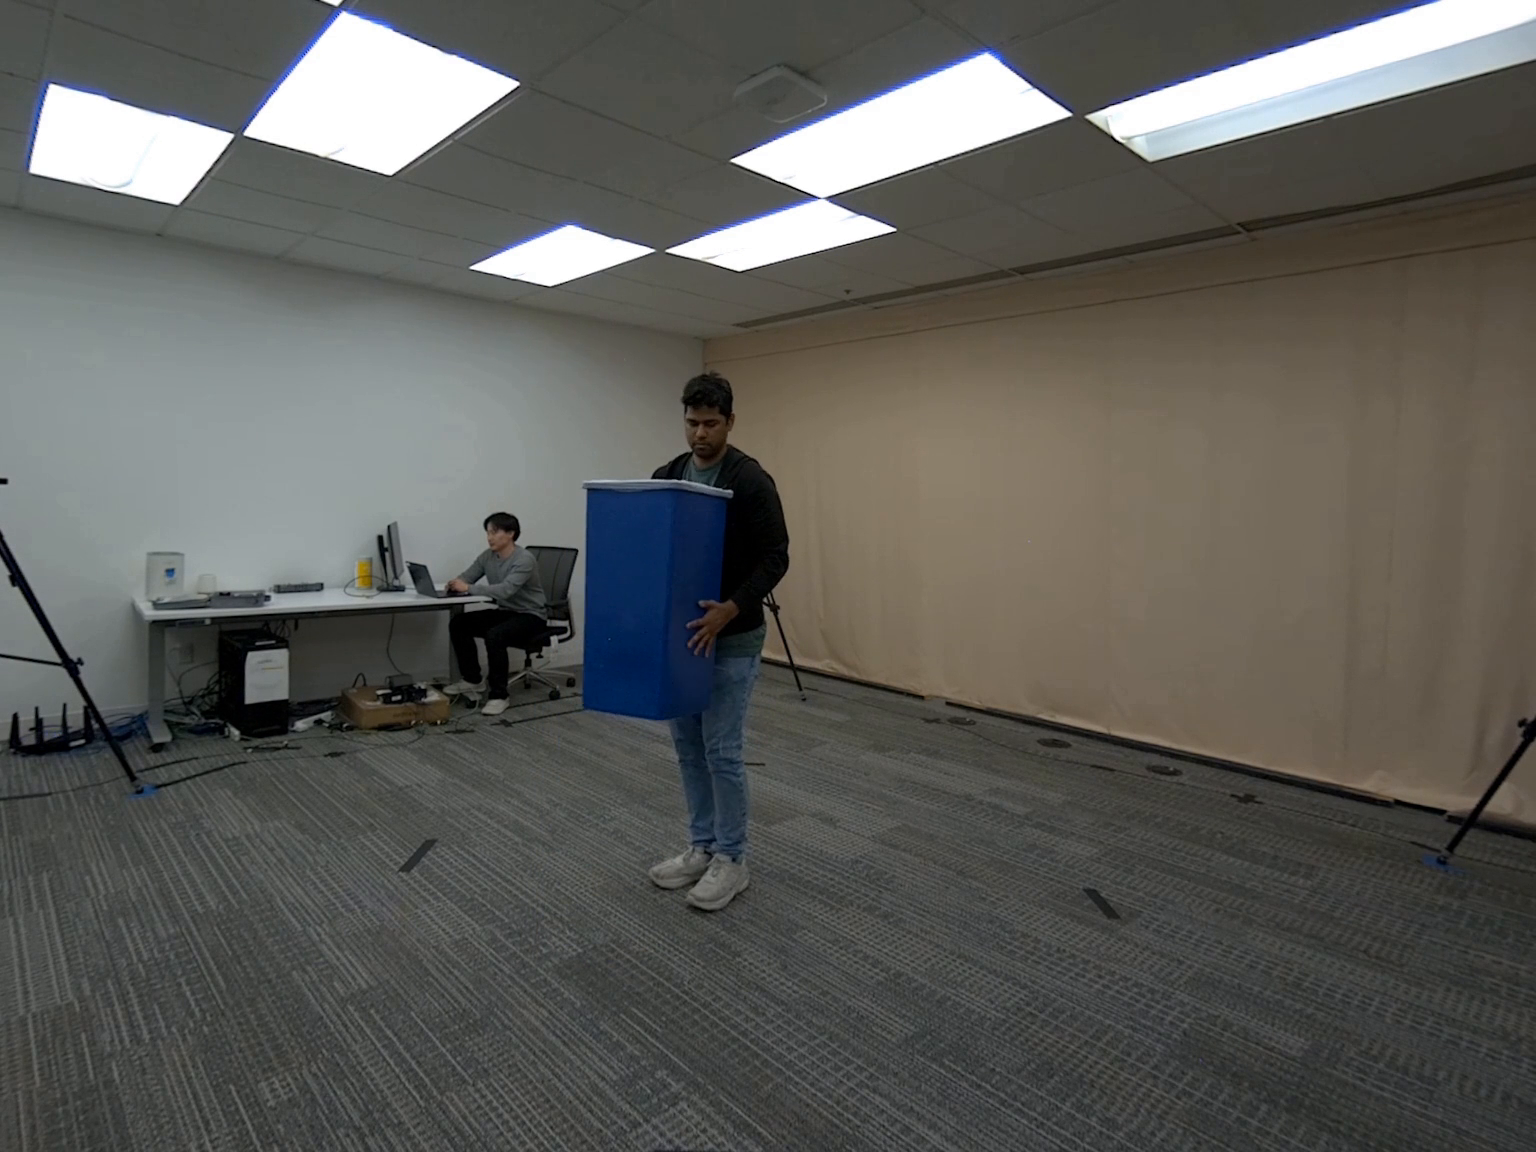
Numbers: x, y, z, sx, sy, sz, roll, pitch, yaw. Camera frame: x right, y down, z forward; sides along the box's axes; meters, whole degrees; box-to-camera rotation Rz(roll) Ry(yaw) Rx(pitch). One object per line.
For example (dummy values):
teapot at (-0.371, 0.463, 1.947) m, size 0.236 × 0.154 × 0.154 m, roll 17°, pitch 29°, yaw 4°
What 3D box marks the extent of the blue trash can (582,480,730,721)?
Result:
blue trash can at (-0.375, 0.066, 2.679) m, size 0.386 × 0.714 × 0.366 m, roll 2°, pitch -2°, yaw 28°
